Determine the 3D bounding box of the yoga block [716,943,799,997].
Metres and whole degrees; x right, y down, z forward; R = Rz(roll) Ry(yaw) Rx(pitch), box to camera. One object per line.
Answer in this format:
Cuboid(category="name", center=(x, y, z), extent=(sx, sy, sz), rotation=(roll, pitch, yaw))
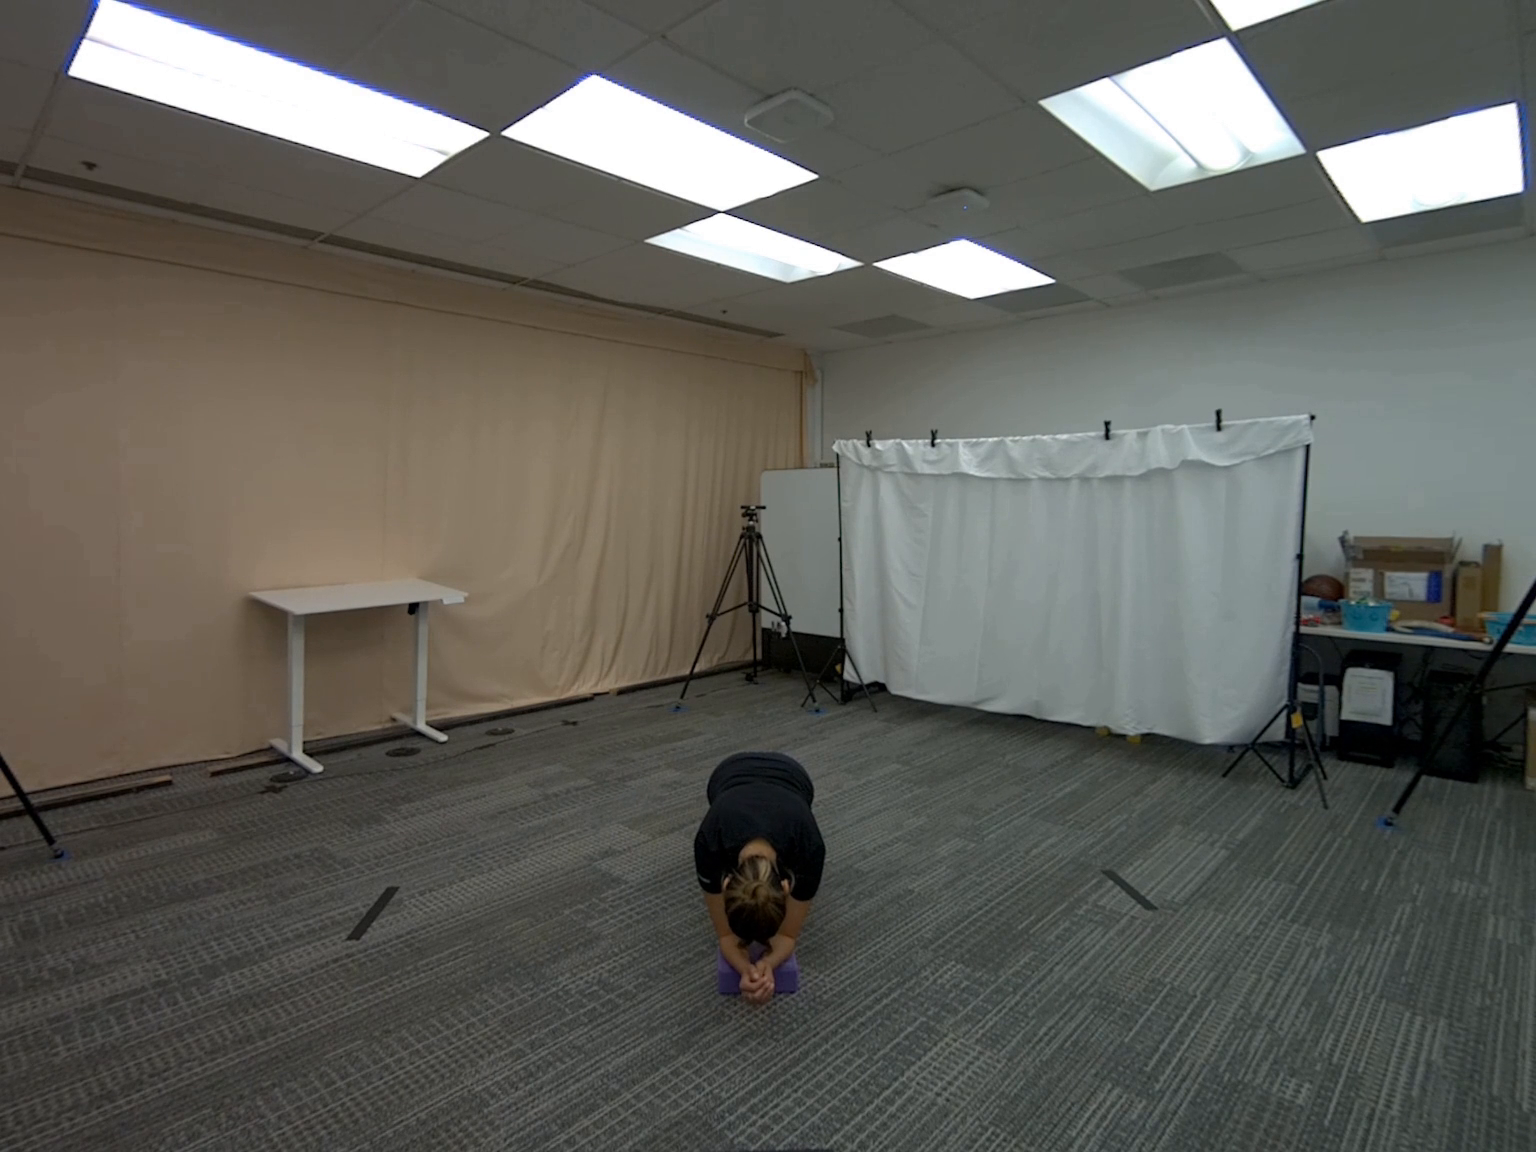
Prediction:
Cuboid(category="yoga block", center=(-0.030, 1.143, 2.471), extent=(0.229, 0.076, 0.149), rotation=(-1, 5, -1))
